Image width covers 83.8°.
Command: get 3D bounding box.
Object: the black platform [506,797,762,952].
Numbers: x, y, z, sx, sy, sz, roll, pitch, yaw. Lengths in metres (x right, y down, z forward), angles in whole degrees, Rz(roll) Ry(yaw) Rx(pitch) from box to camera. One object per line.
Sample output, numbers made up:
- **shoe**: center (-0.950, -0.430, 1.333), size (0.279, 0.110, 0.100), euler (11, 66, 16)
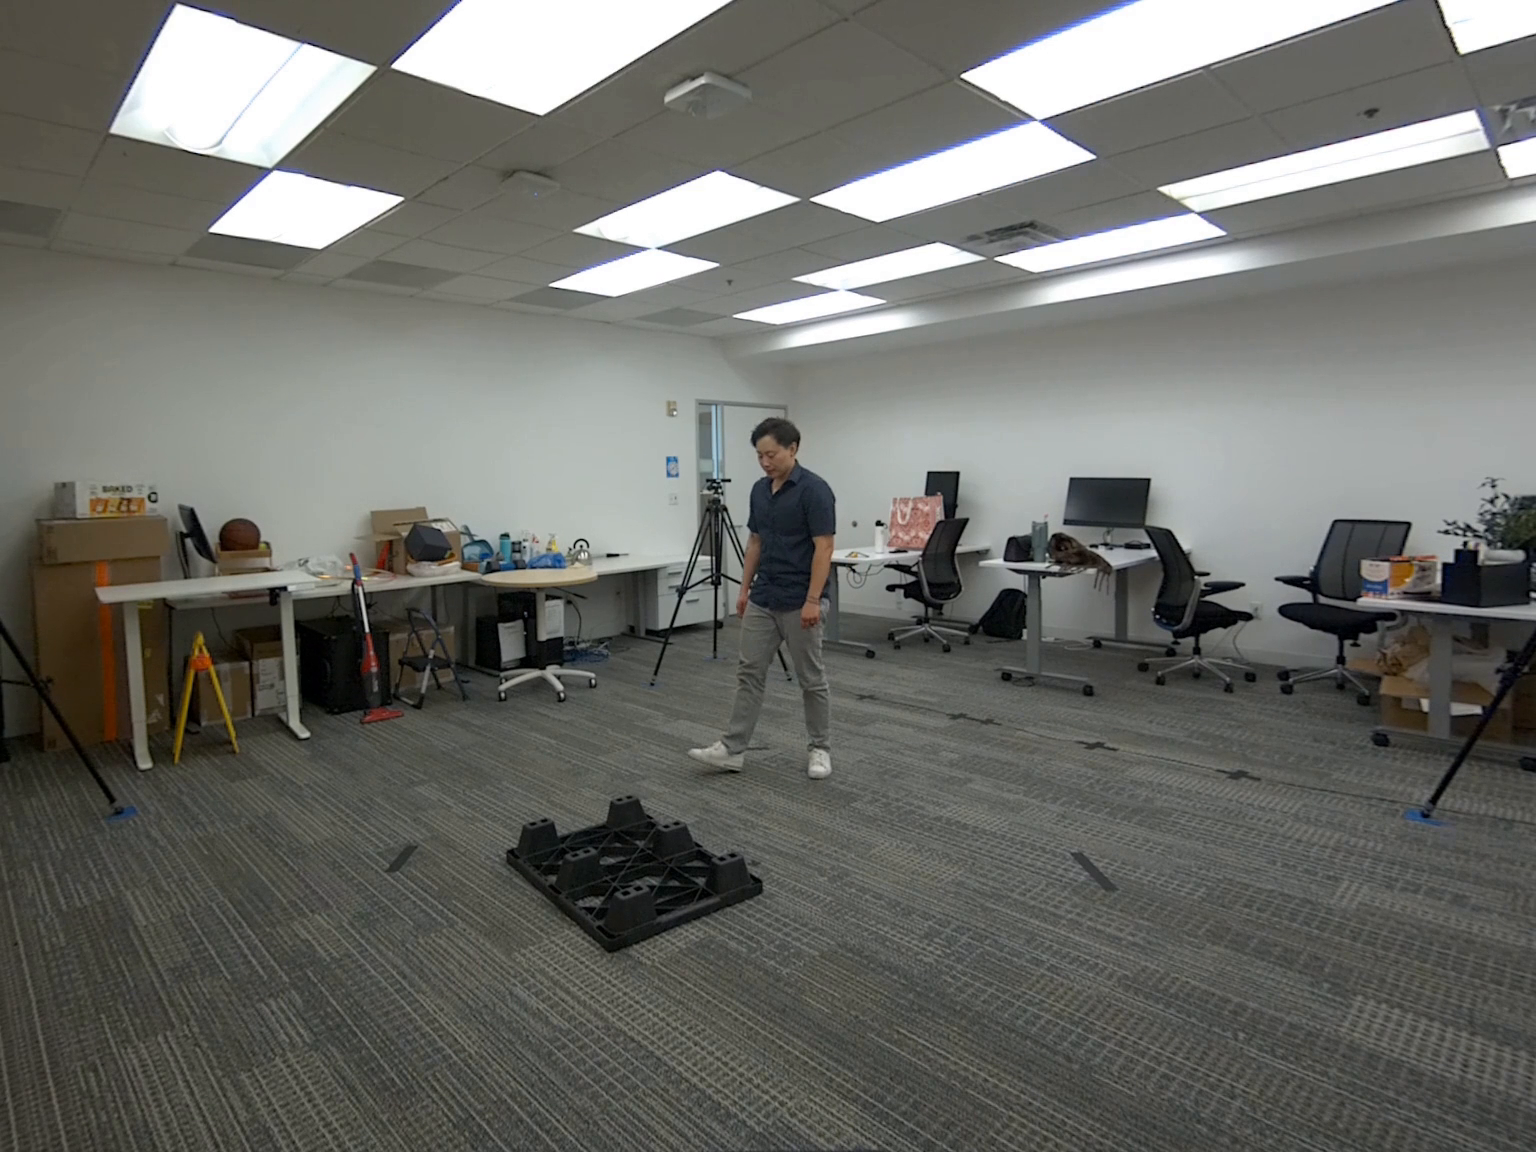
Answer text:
- **black platform**: center (-0.497, 0.997, 3.022), size (0.589, 0.143, 0.830), euler (-6, 8, -38)
